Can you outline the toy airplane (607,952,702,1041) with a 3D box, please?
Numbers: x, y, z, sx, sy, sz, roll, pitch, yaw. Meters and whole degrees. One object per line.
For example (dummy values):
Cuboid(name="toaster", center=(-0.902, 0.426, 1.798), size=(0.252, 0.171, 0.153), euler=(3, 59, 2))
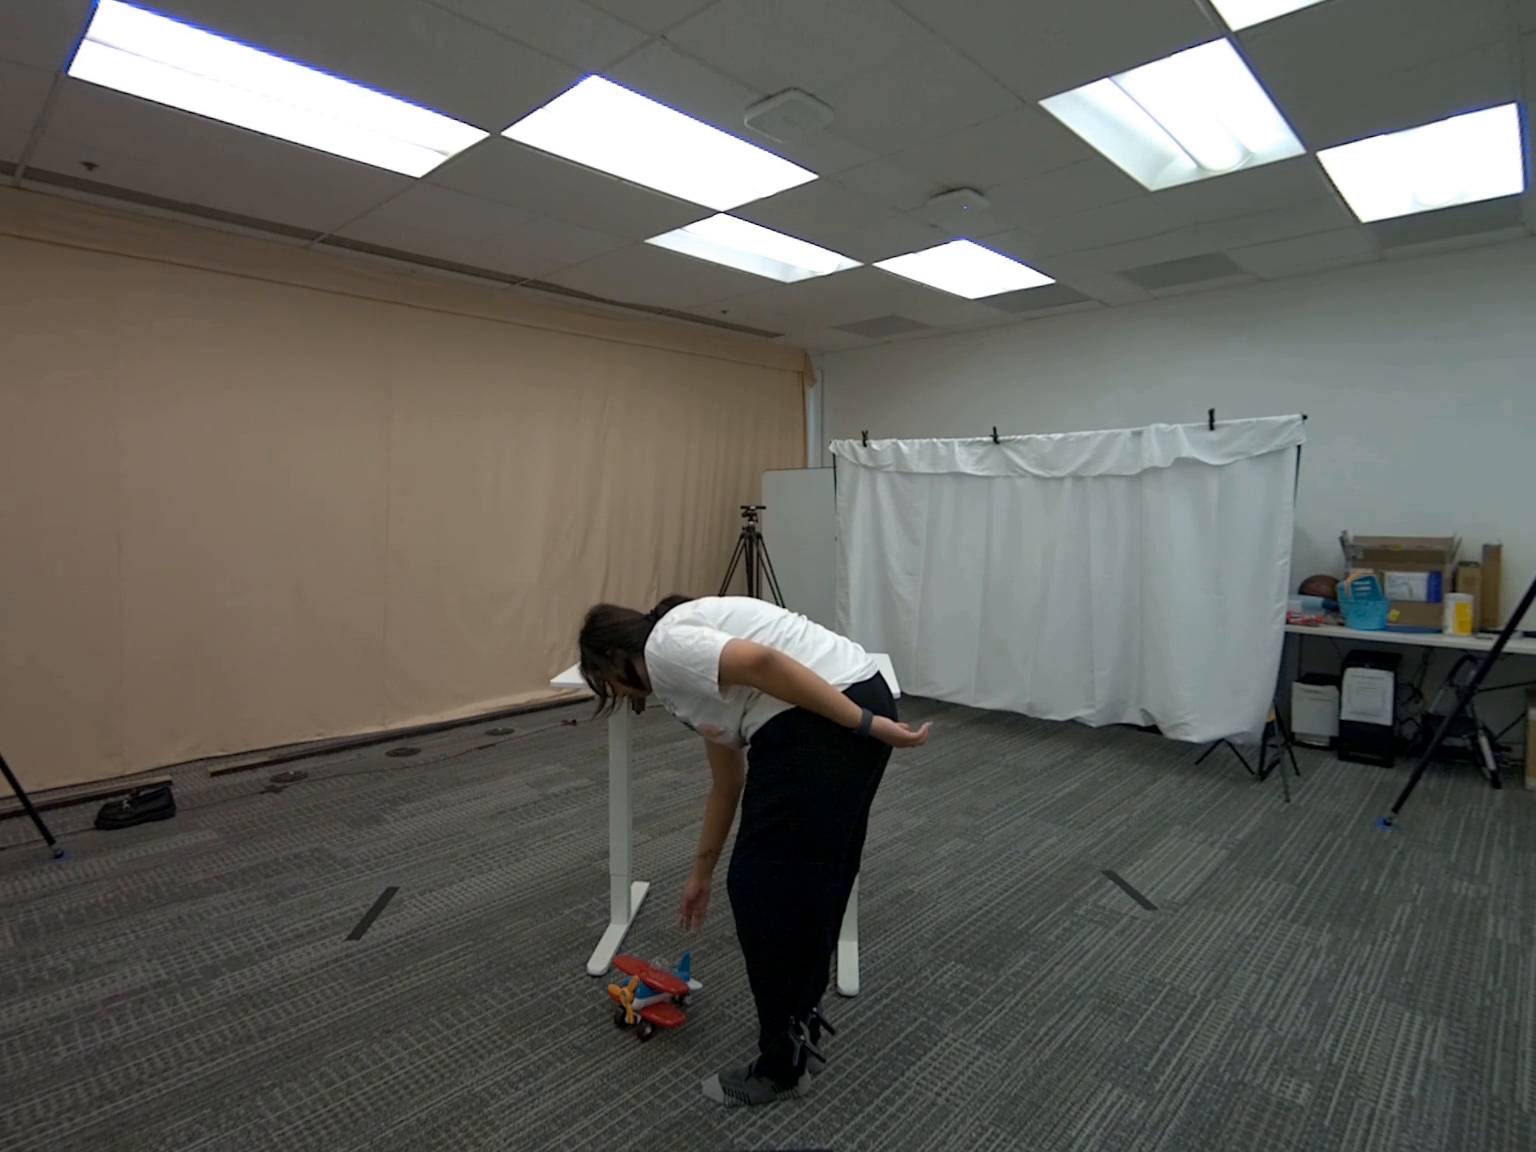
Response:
Cuboid(name="toy airplane", center=(-0.316, 1.132, 2.291), size=(0.254, 0.156, 0.257), euler=(0, 6, 11))
